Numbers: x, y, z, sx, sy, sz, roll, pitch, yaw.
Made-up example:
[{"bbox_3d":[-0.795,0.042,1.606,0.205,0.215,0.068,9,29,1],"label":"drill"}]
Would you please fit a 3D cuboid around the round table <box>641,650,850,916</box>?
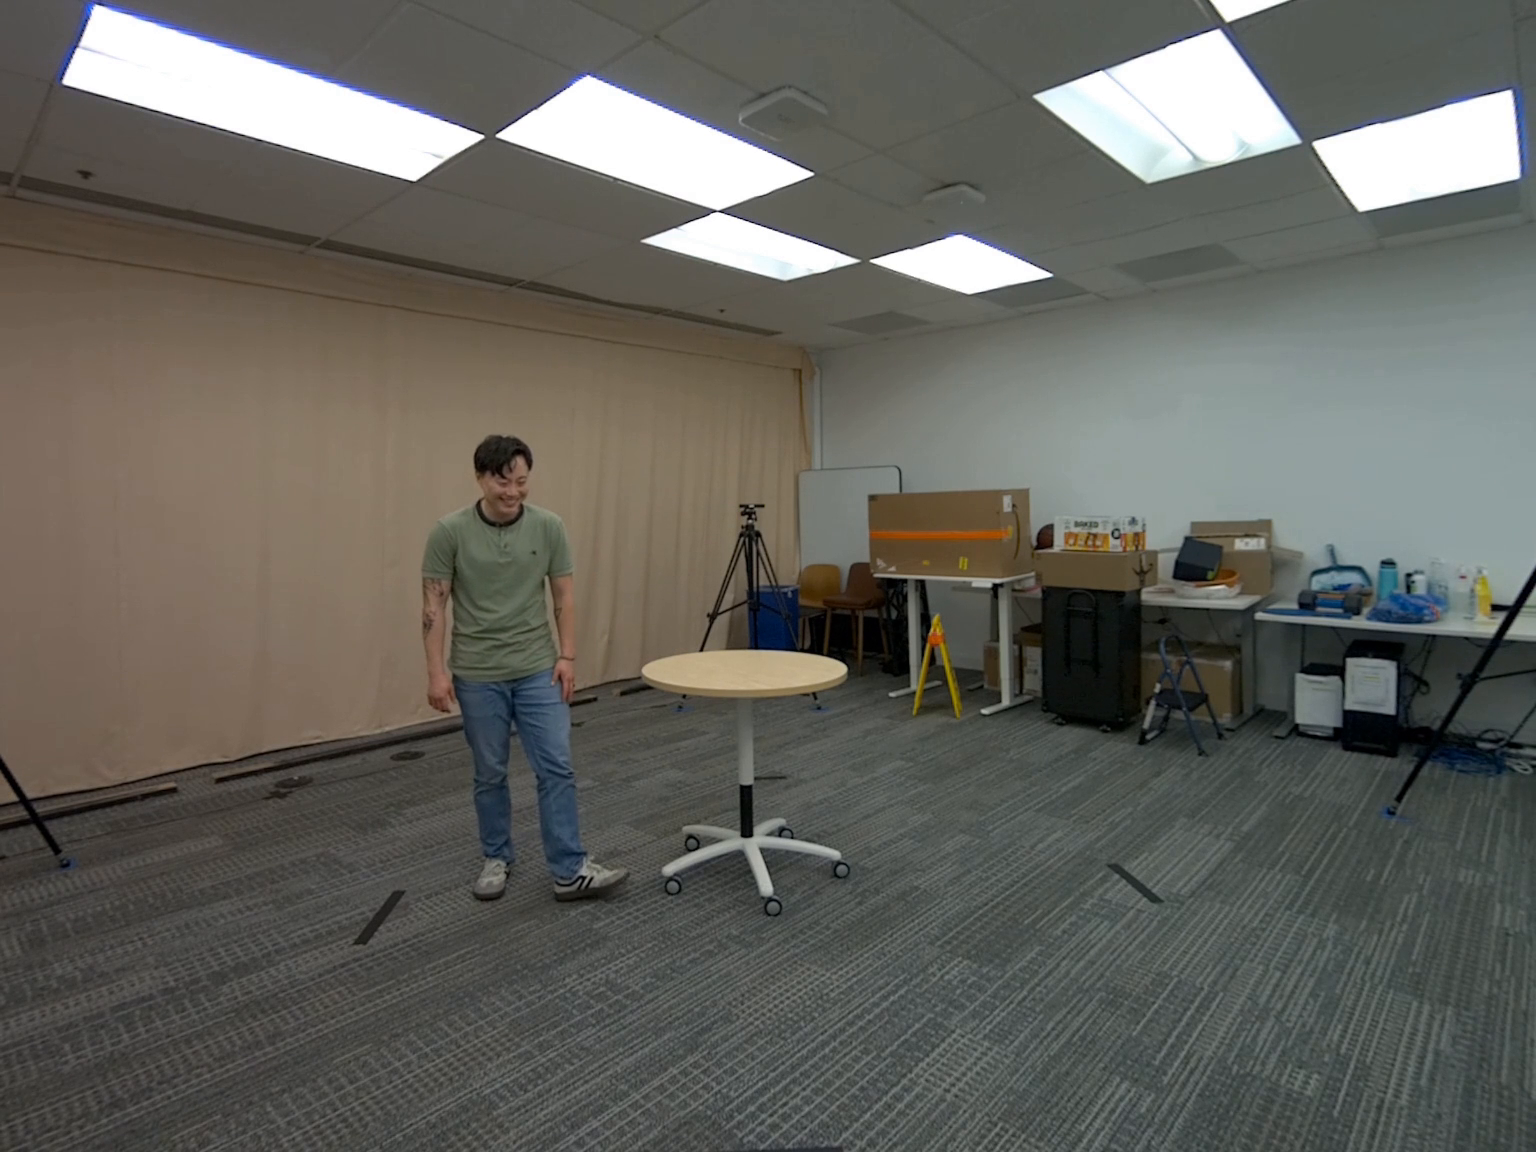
[{"bbox_3d":[-0.079,0.736,3.168,0.763,0.792,0.766,-1,4,-2],"label":"round table"}]
